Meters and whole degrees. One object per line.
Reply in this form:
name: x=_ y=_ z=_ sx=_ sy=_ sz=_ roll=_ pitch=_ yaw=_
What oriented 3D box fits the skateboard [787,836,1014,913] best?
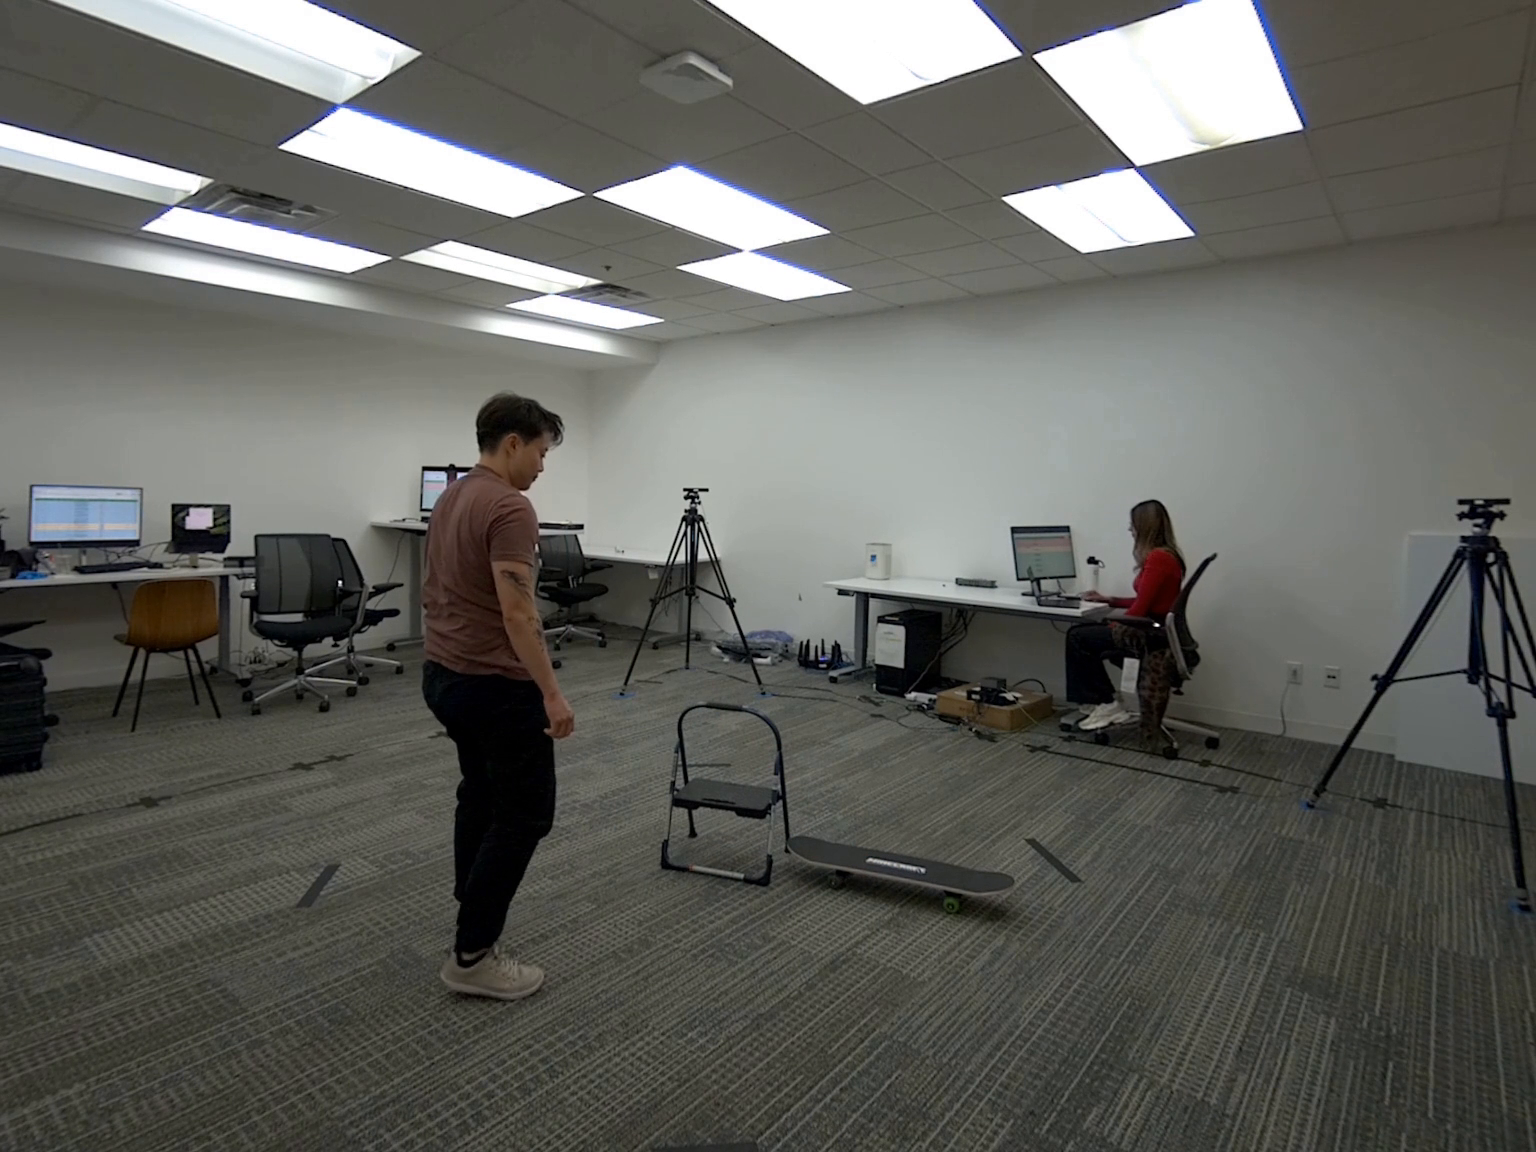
skateboard: x=0.429 y=1.034 z=2.977 sx=0.803 sy=0.110 sz=0.190 roll=4 pitch=6 yaw=21
